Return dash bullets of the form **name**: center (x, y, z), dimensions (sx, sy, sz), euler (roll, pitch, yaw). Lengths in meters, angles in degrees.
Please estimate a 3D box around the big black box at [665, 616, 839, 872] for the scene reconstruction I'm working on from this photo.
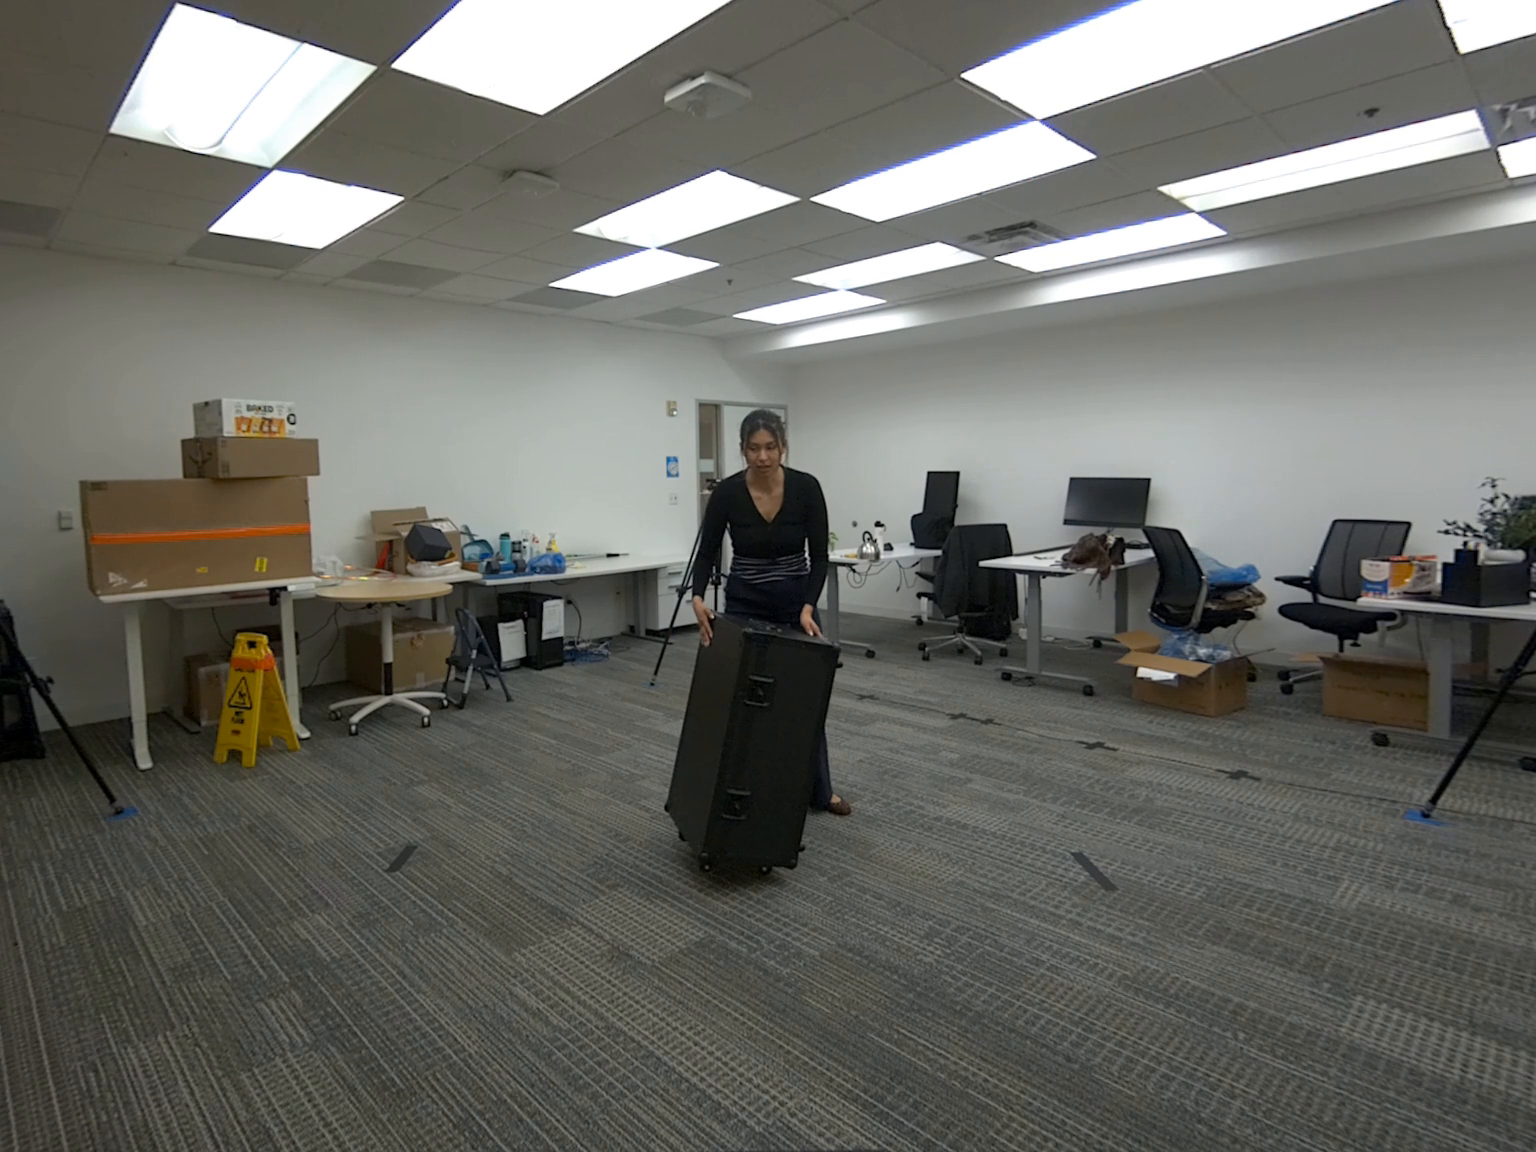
- **big black box**: center (-0.059, 0.551, 3.102), dimensions (0.388, 0.861, 0.532), euler (11, 0, -20)
